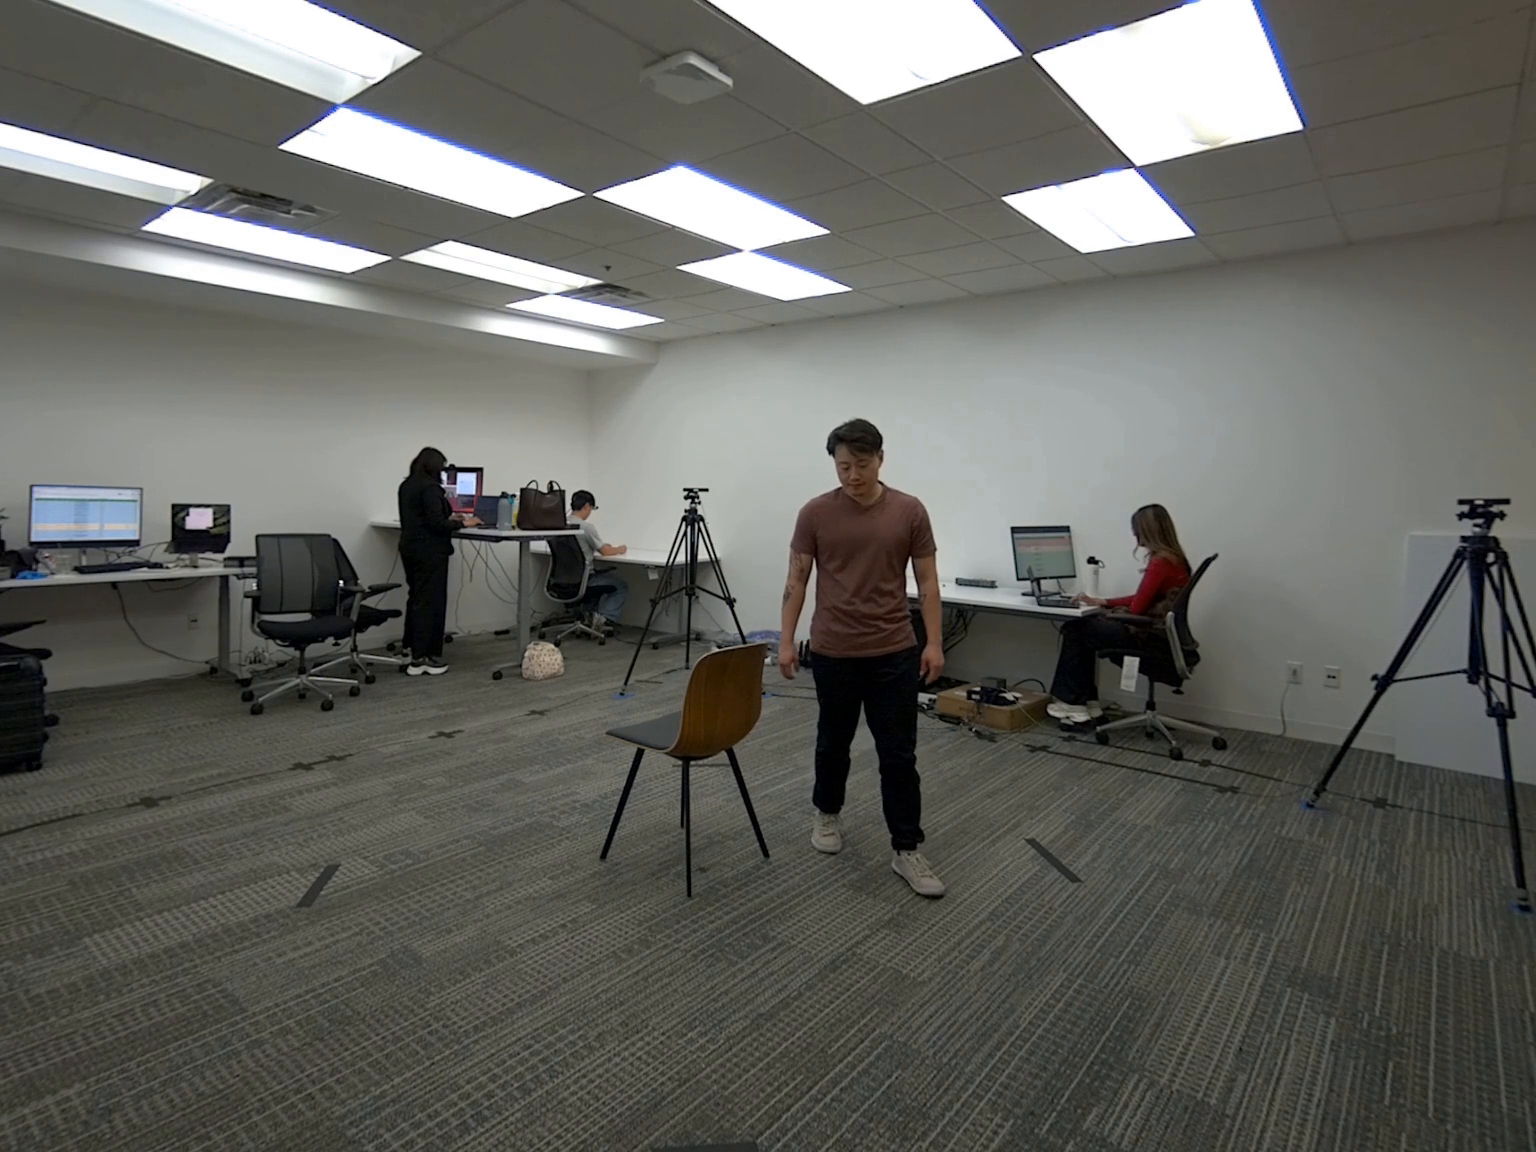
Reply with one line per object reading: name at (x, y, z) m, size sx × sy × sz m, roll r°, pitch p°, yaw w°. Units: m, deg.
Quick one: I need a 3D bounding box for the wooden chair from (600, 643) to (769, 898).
wooden chair at (-0.319, 0.635, 3.176) m, size 0.542 × 0.873 × 0.464 m, roll 9°, pitch 7°, yaw 39°
